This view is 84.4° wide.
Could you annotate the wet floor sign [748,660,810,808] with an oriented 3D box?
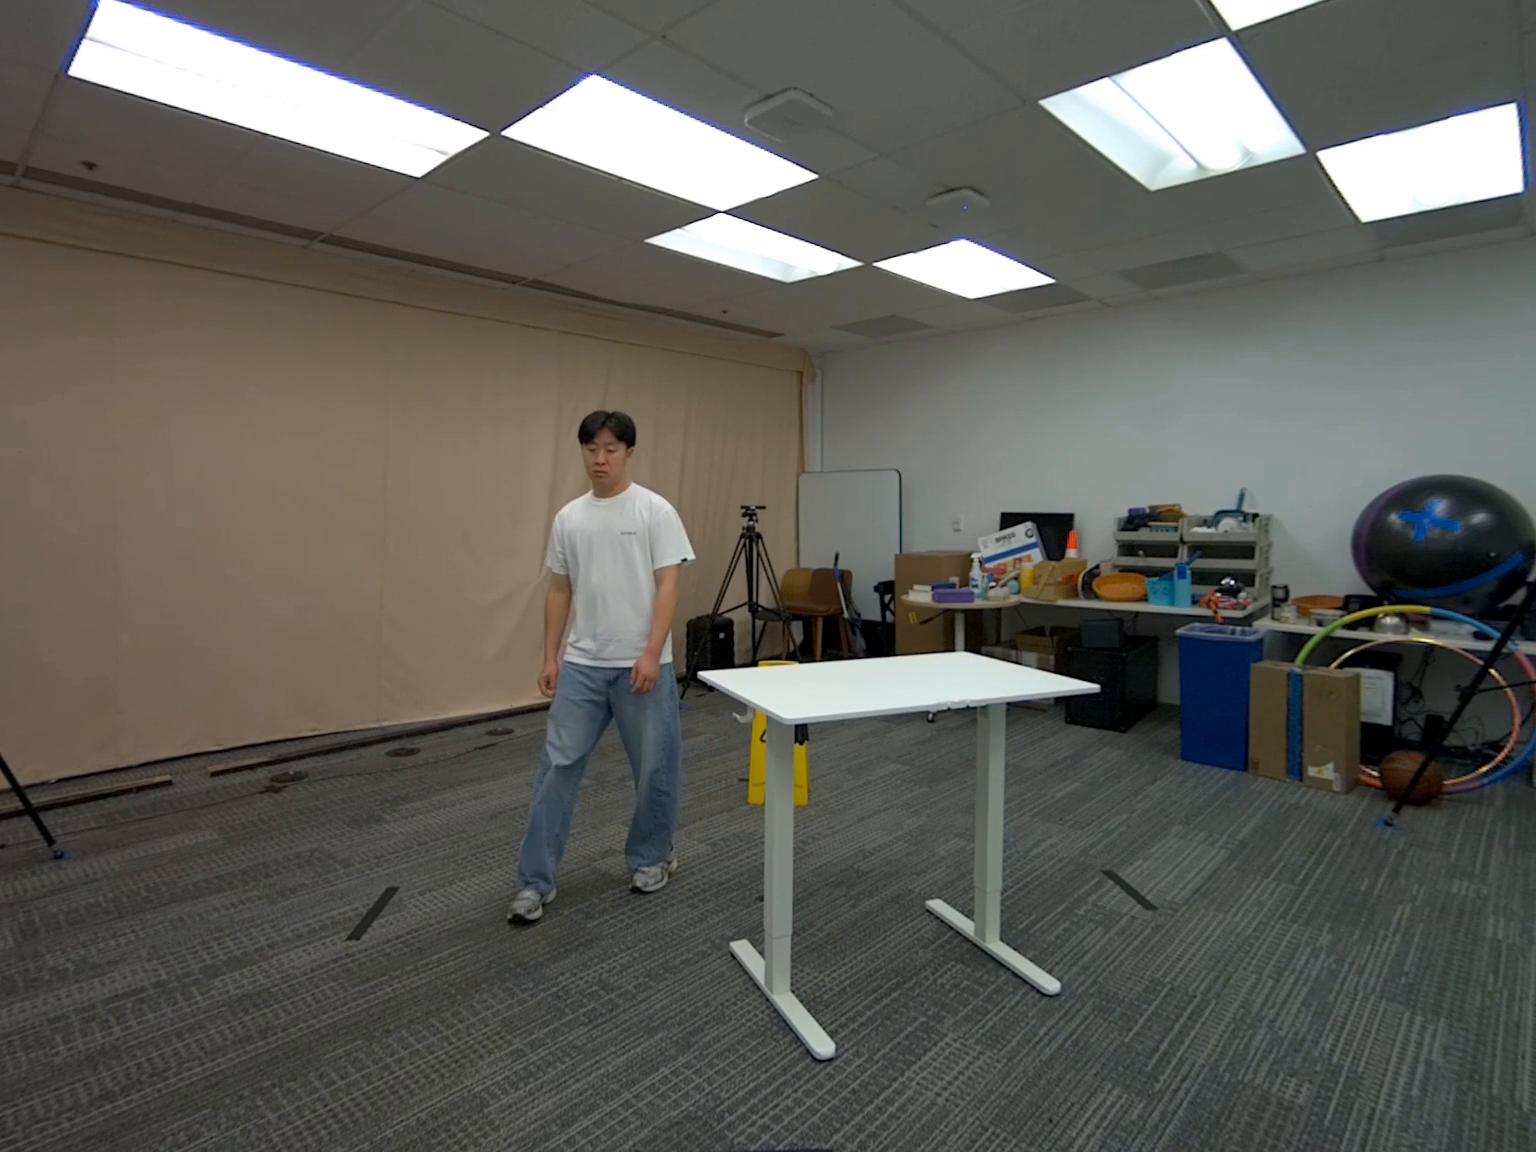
[{"bbox_3d":[0.055,0.730,4.033,0.284,0.645,0.288,1,3,6],"label":"wet floor sign"}]
